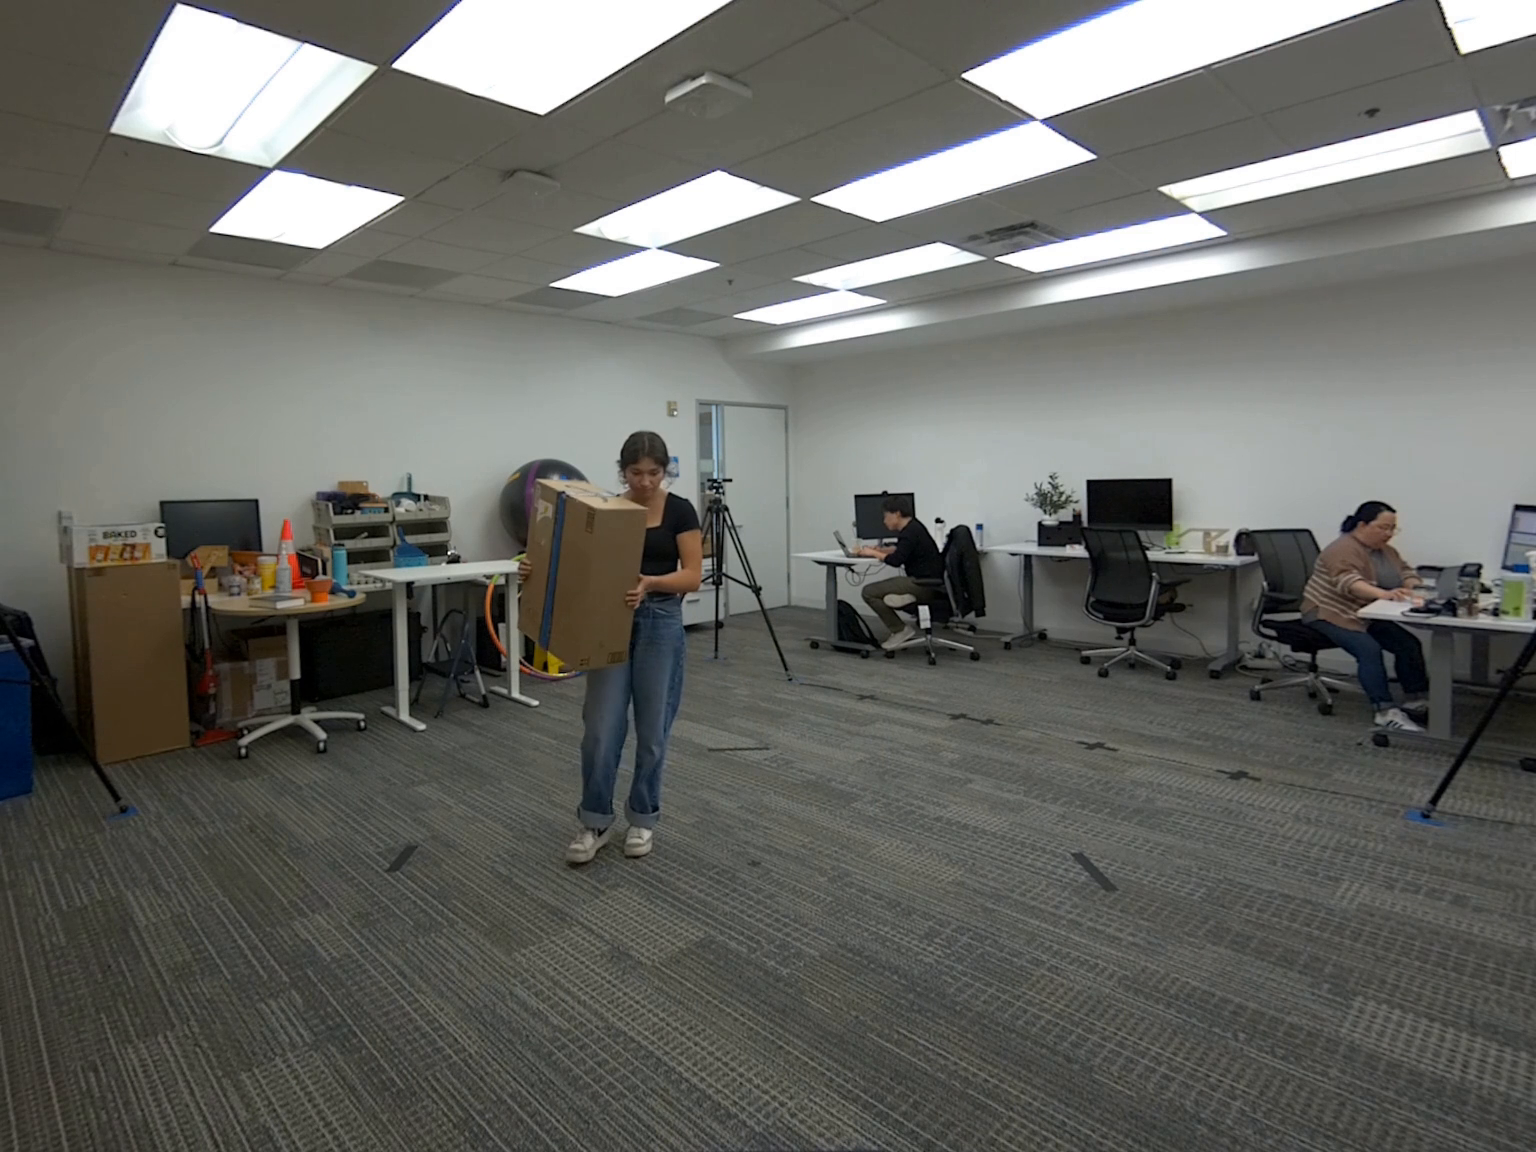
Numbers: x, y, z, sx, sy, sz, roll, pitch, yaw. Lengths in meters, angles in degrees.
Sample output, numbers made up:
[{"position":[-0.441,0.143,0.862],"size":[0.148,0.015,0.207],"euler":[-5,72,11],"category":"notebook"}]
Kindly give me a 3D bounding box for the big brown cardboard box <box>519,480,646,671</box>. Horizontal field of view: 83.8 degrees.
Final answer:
[{"position":[-0.663,-0.020,3.022],"size":[0.227,0.583,0.433],"euler":[-3,17,-43],"category":"big brown cardboard box"}]
